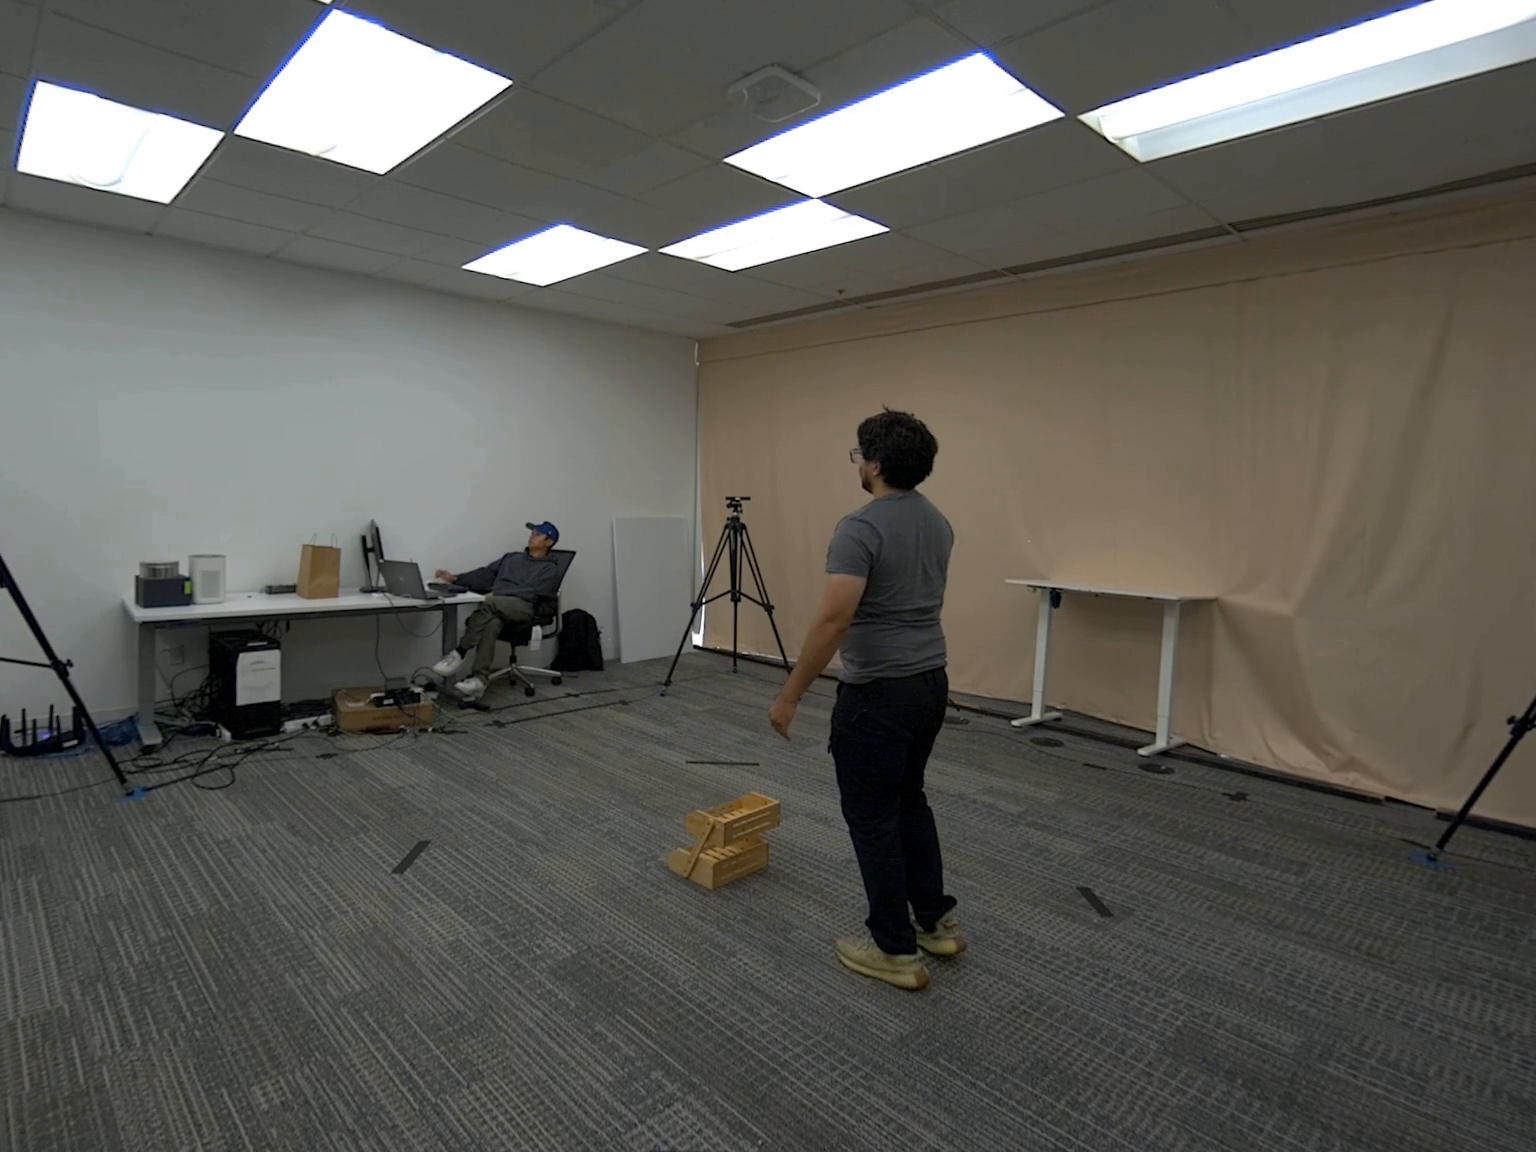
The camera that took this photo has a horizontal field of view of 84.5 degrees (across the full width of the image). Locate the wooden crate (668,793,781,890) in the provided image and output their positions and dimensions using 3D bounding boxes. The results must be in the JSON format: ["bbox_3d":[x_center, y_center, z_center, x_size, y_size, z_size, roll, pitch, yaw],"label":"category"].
[{"bbox_3d":[-0.176,0.968,3.155,0.310,0.272,0.317,5,6,42],"label":"wooden crate"}]
